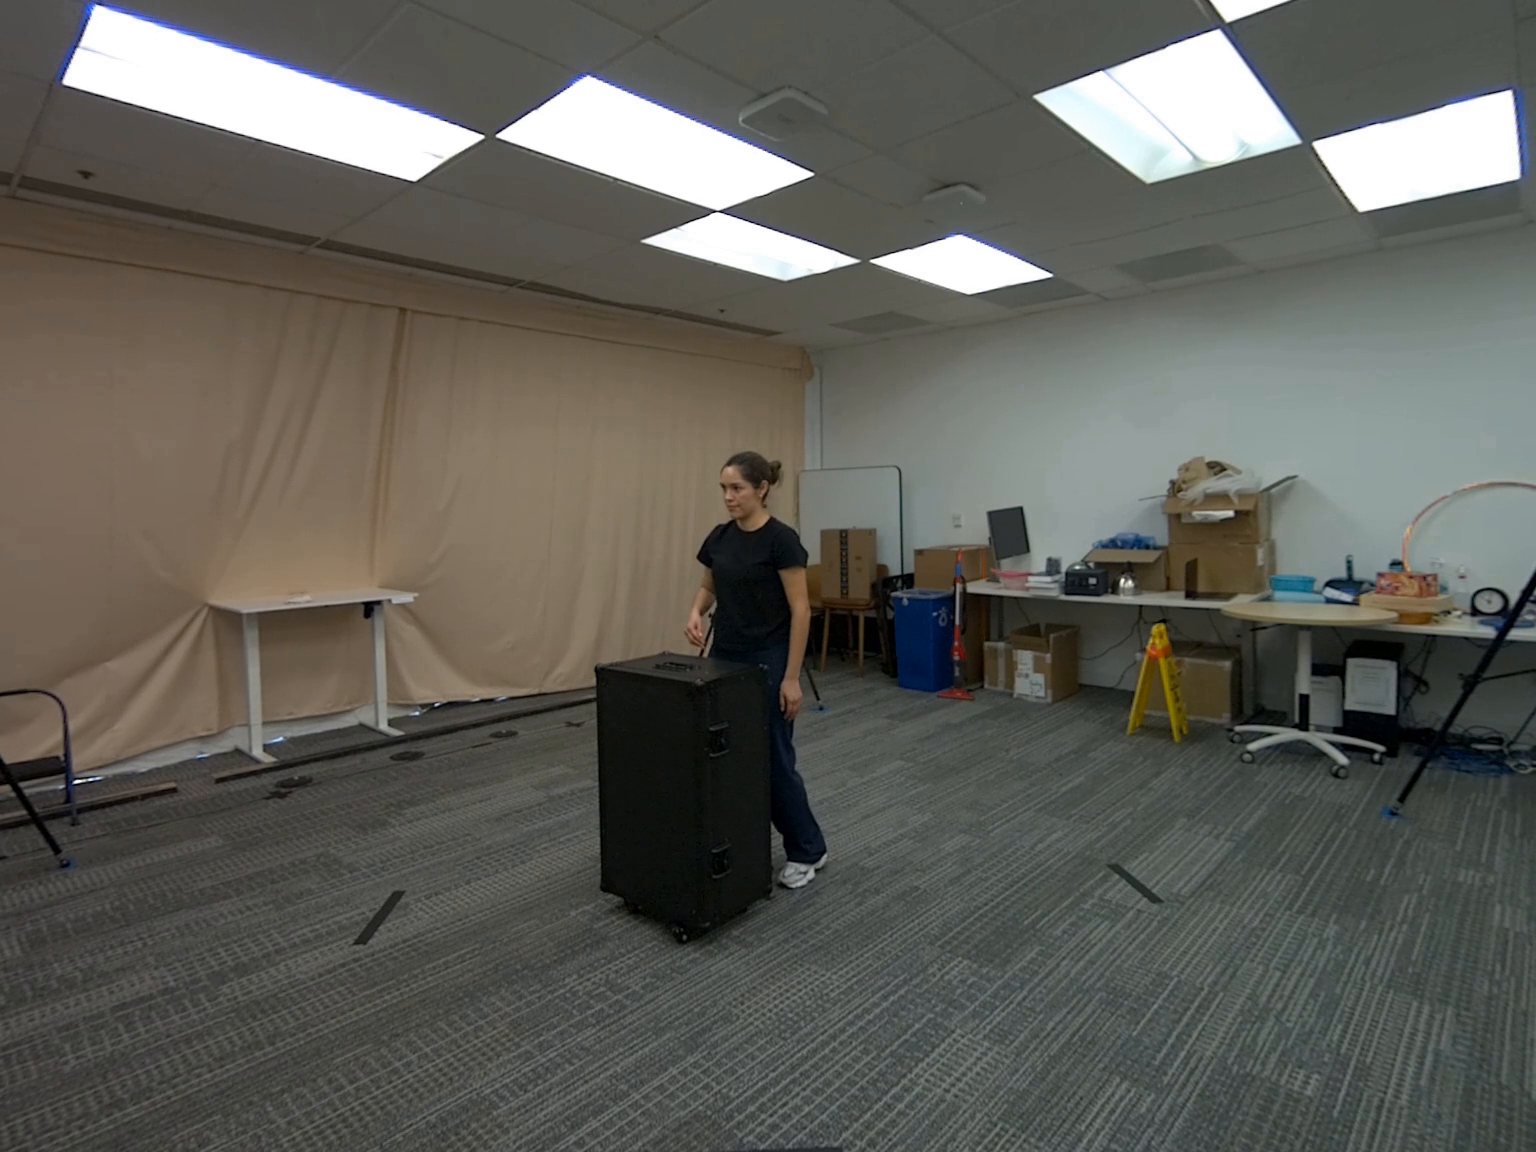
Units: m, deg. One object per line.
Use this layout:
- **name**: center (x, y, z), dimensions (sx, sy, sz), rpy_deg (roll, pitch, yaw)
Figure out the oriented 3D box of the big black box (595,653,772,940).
- **big black box**: center (-0.274, 0.731, 2.869), dimensions (0.538, 0.860, 0.384), rpy_deg (2, 4, 38)
